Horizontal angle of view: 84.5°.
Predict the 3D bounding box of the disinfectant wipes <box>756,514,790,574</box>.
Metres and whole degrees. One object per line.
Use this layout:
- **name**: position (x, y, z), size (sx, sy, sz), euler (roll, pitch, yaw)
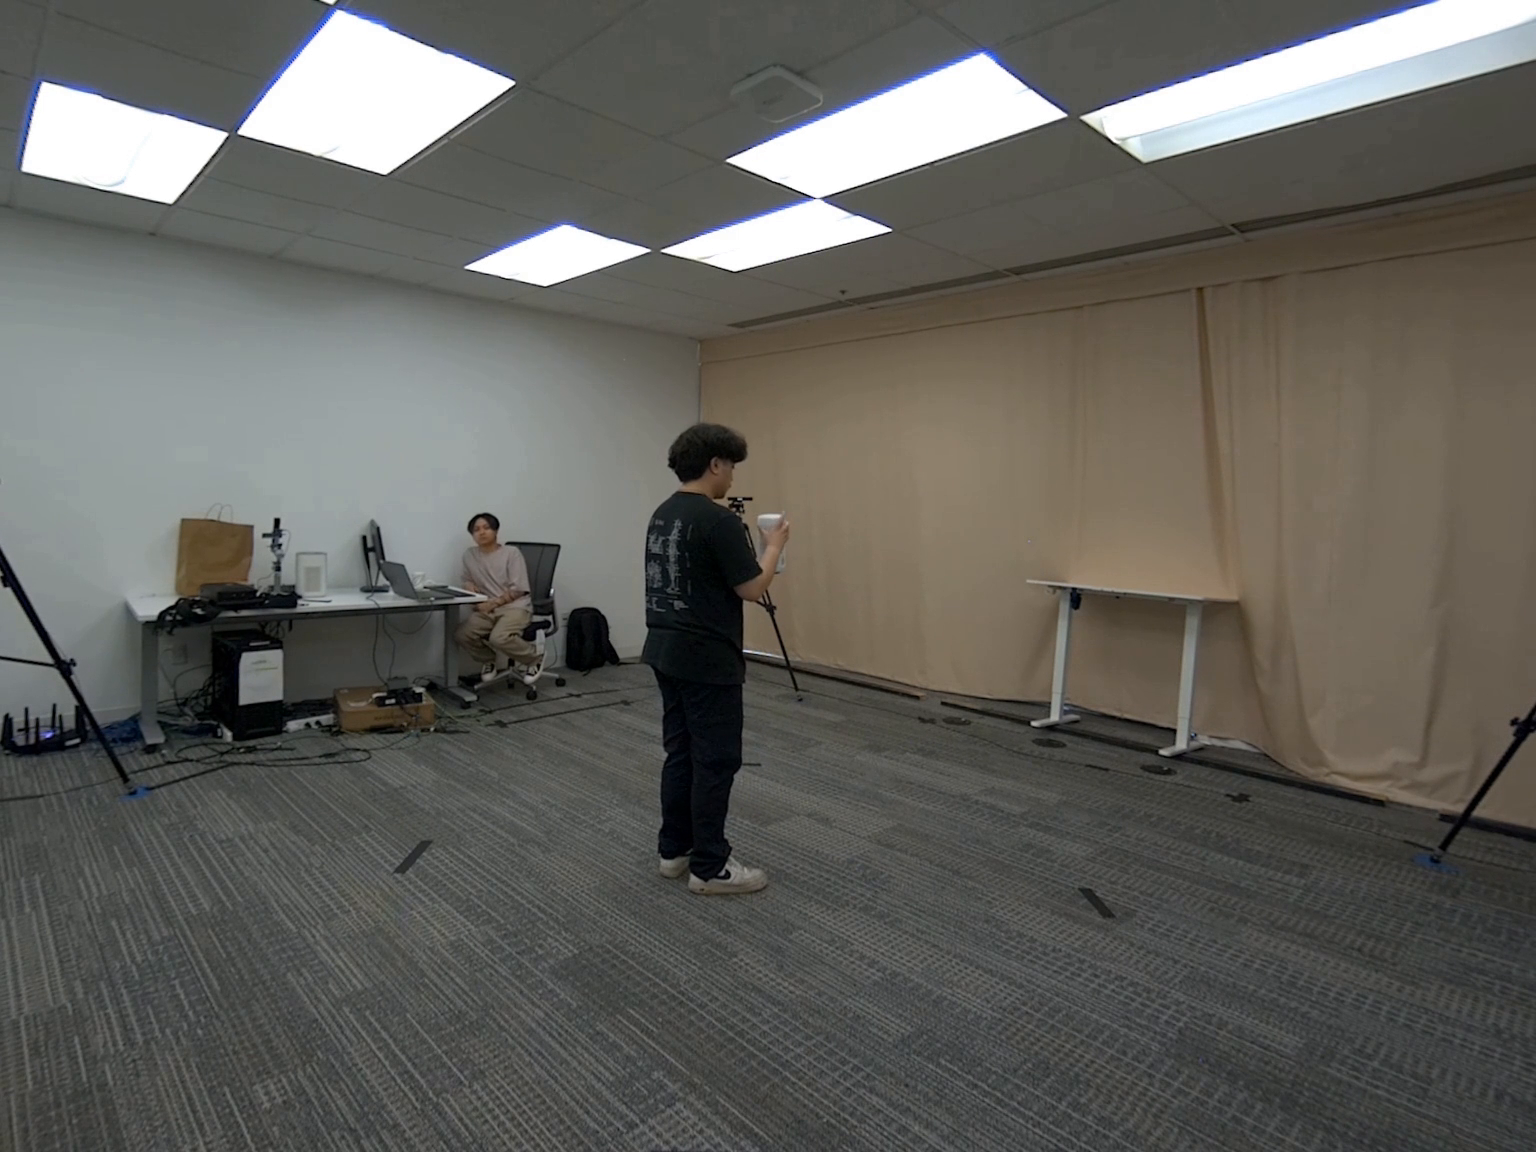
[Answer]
- **disinfectant wipes**: position (0.016, -0.125, 3.239), size (0.118, 0.217, 0.118), euler (-1, 3, -1)
